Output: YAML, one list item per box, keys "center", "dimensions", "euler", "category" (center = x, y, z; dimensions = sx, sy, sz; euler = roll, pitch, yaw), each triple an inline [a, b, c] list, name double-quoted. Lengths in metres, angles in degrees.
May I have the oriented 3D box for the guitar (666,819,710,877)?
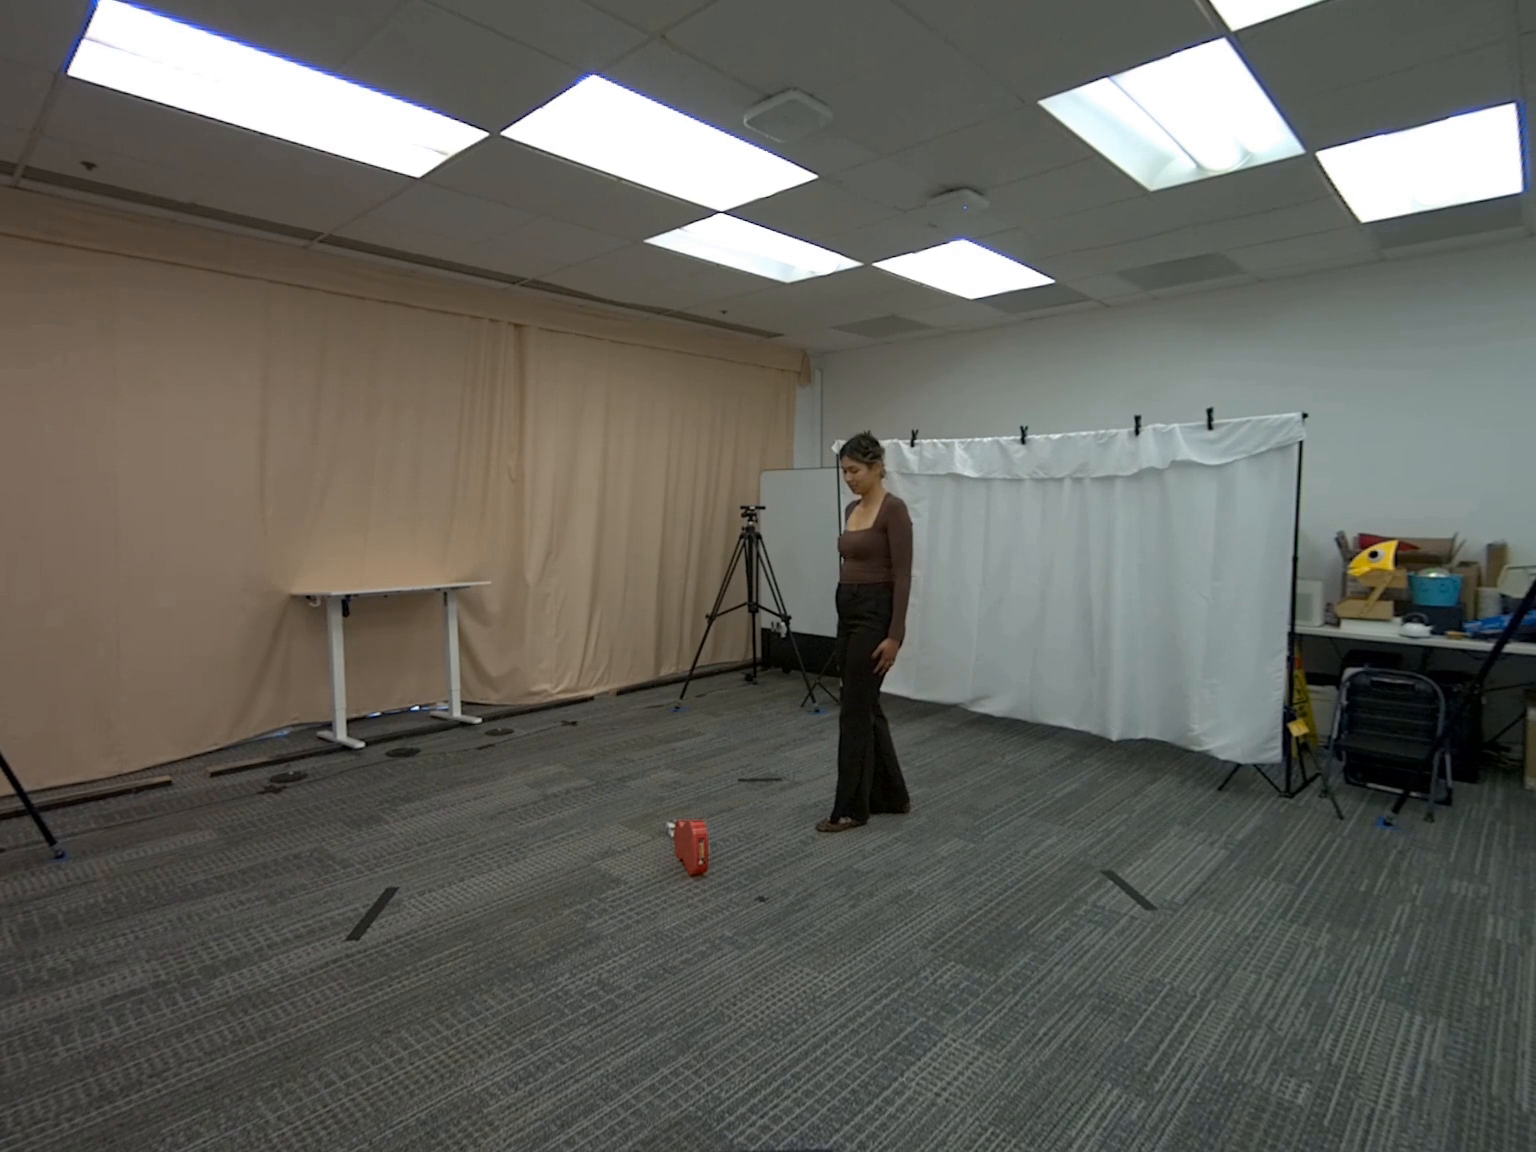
- center: [-0.334, 1.073, 3.362]
  dimensions: [0.069, 0.195, 0.503]
  euler: [2, -15, -21]
  category: "guitar"
